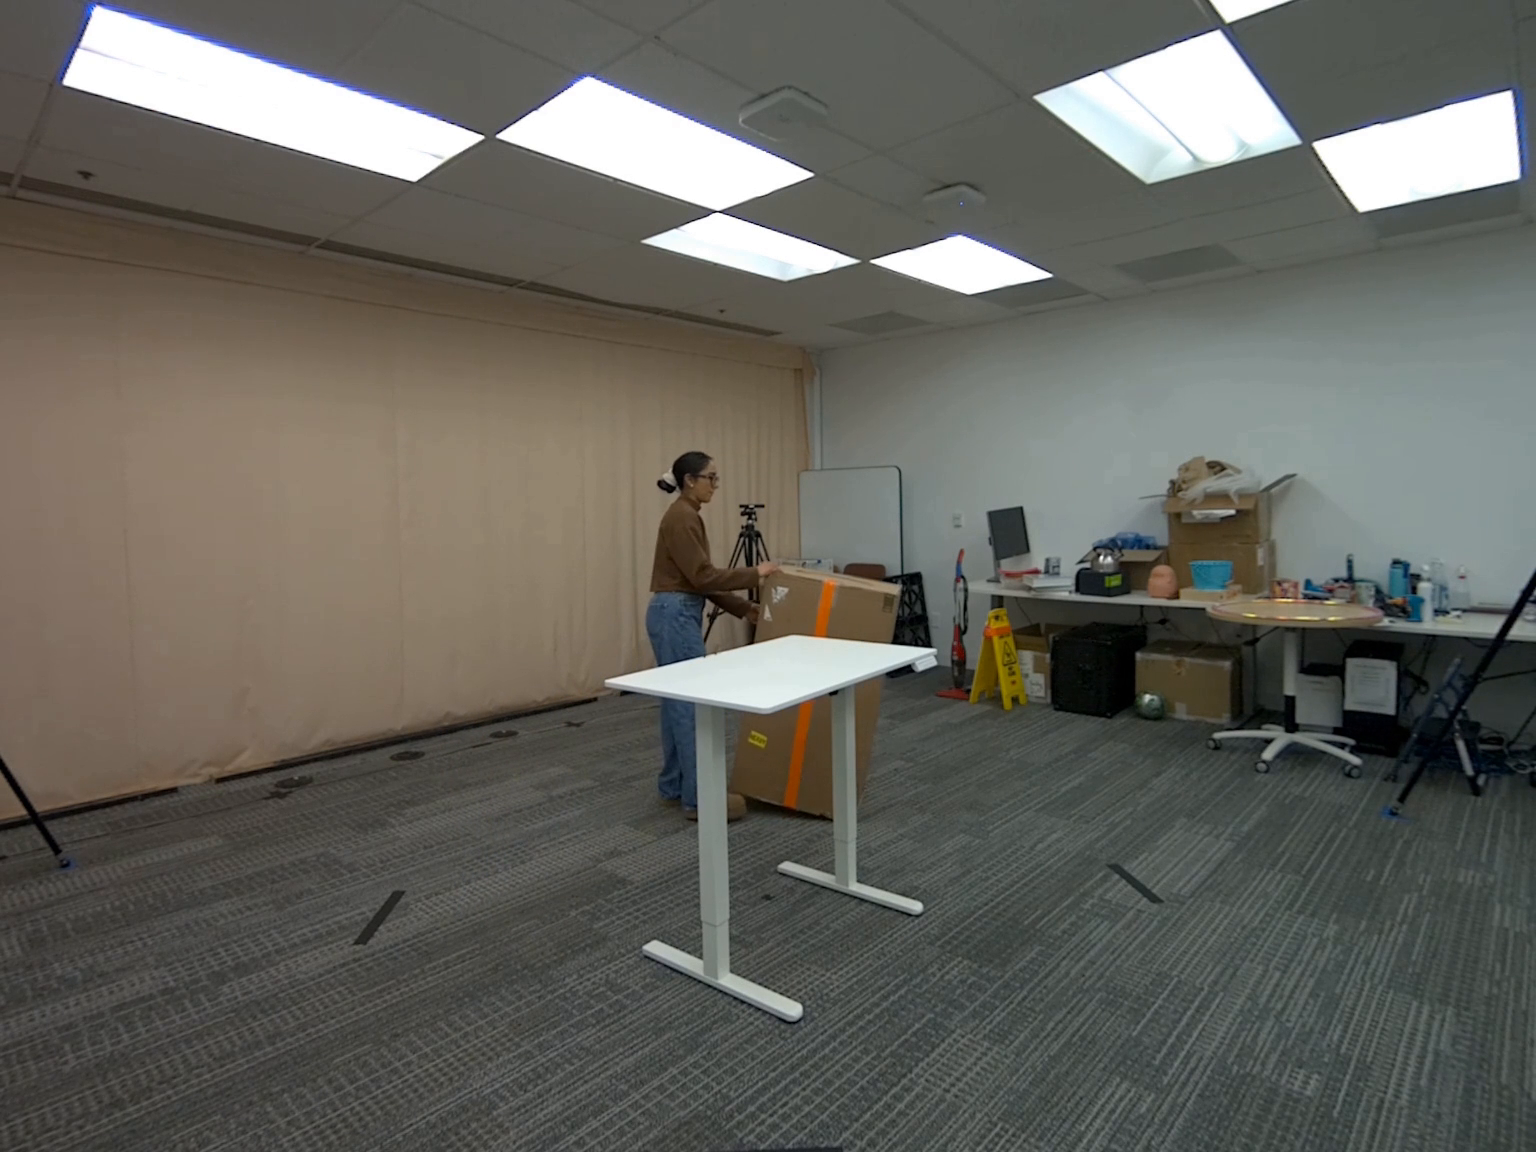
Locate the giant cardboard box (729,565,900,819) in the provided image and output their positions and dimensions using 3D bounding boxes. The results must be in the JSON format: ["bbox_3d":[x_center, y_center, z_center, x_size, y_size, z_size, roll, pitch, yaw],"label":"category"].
[{"bbox_3d":[0.230,0.510,3.880,0.588,1.023,0.420,10,5,15],"label":"giant cardboard box"}]
